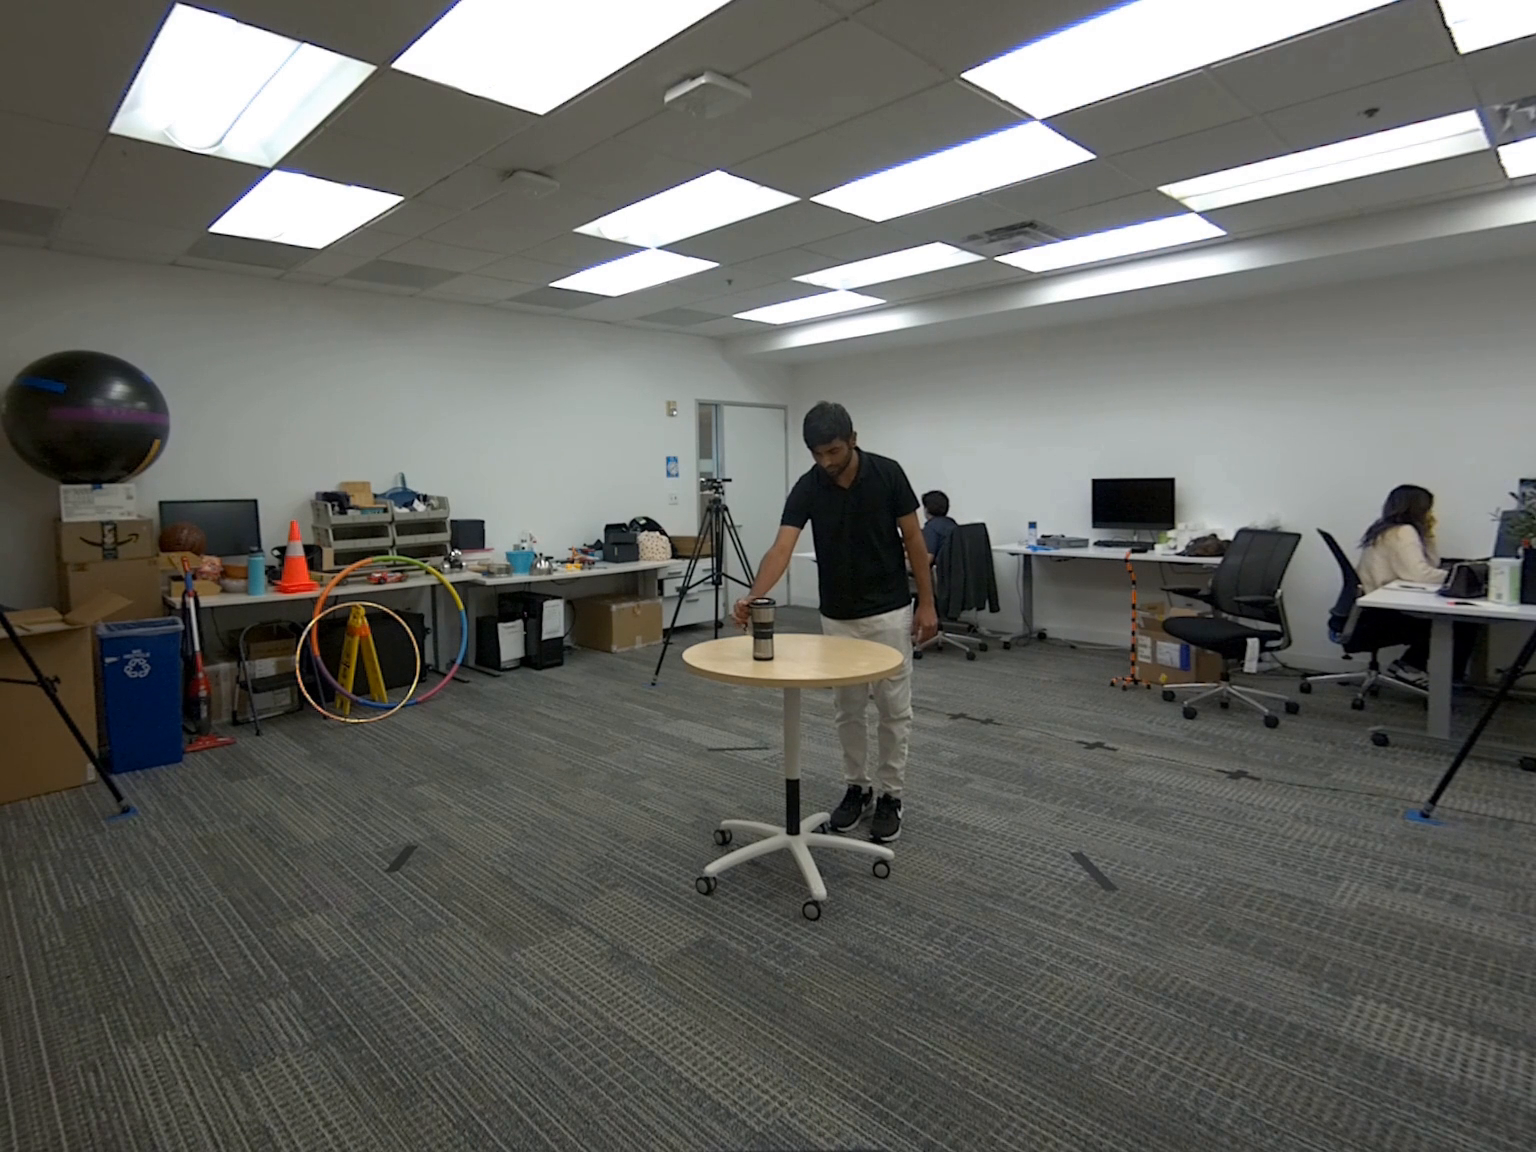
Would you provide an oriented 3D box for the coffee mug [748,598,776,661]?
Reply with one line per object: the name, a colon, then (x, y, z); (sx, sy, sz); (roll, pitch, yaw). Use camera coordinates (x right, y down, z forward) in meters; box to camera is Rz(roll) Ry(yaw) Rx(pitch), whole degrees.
coffee mug: (0.001, 0.183, 2.907); (0.119, 0.202, 0.090); (-9, 5, -34)
